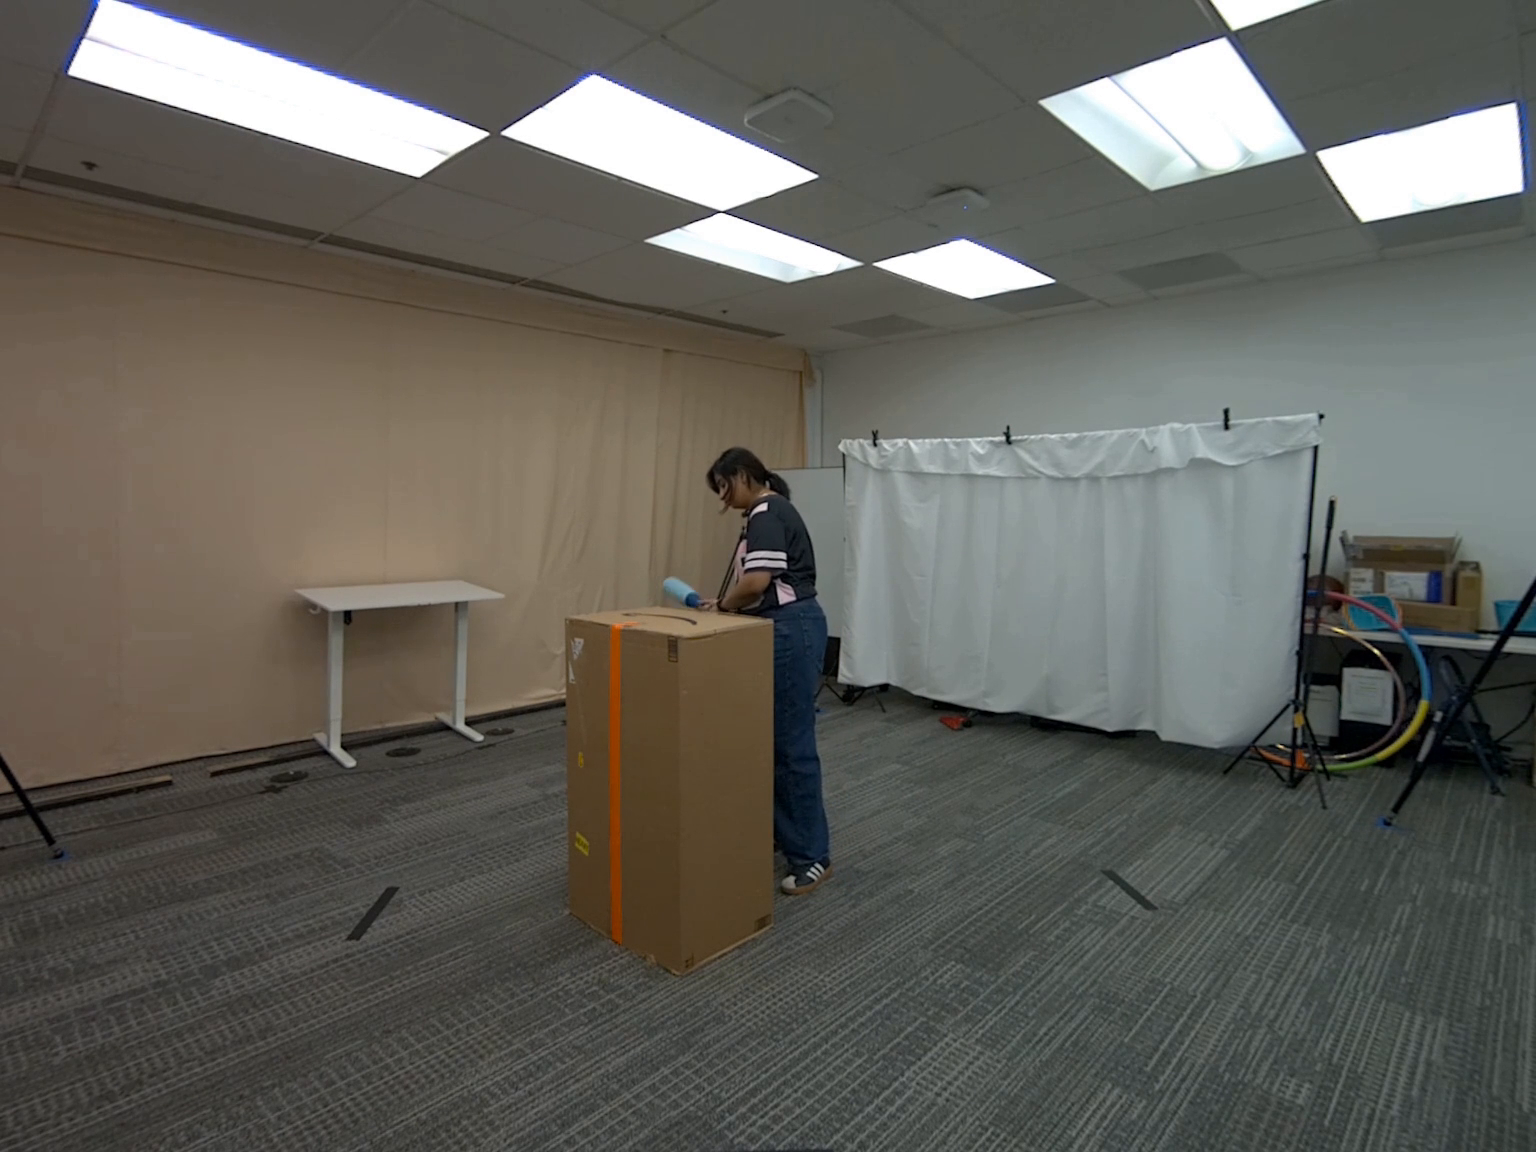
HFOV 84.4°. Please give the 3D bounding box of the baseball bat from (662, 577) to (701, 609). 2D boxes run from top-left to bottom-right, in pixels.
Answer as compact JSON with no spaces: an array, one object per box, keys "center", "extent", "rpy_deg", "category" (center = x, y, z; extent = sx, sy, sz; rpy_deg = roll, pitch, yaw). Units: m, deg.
[{"center":[-0.304,0.112,3.611],"extent":[0.087,0.088,0.561],"rpy_deg":[-2,15,-28],"category":"baseball bat"}]
